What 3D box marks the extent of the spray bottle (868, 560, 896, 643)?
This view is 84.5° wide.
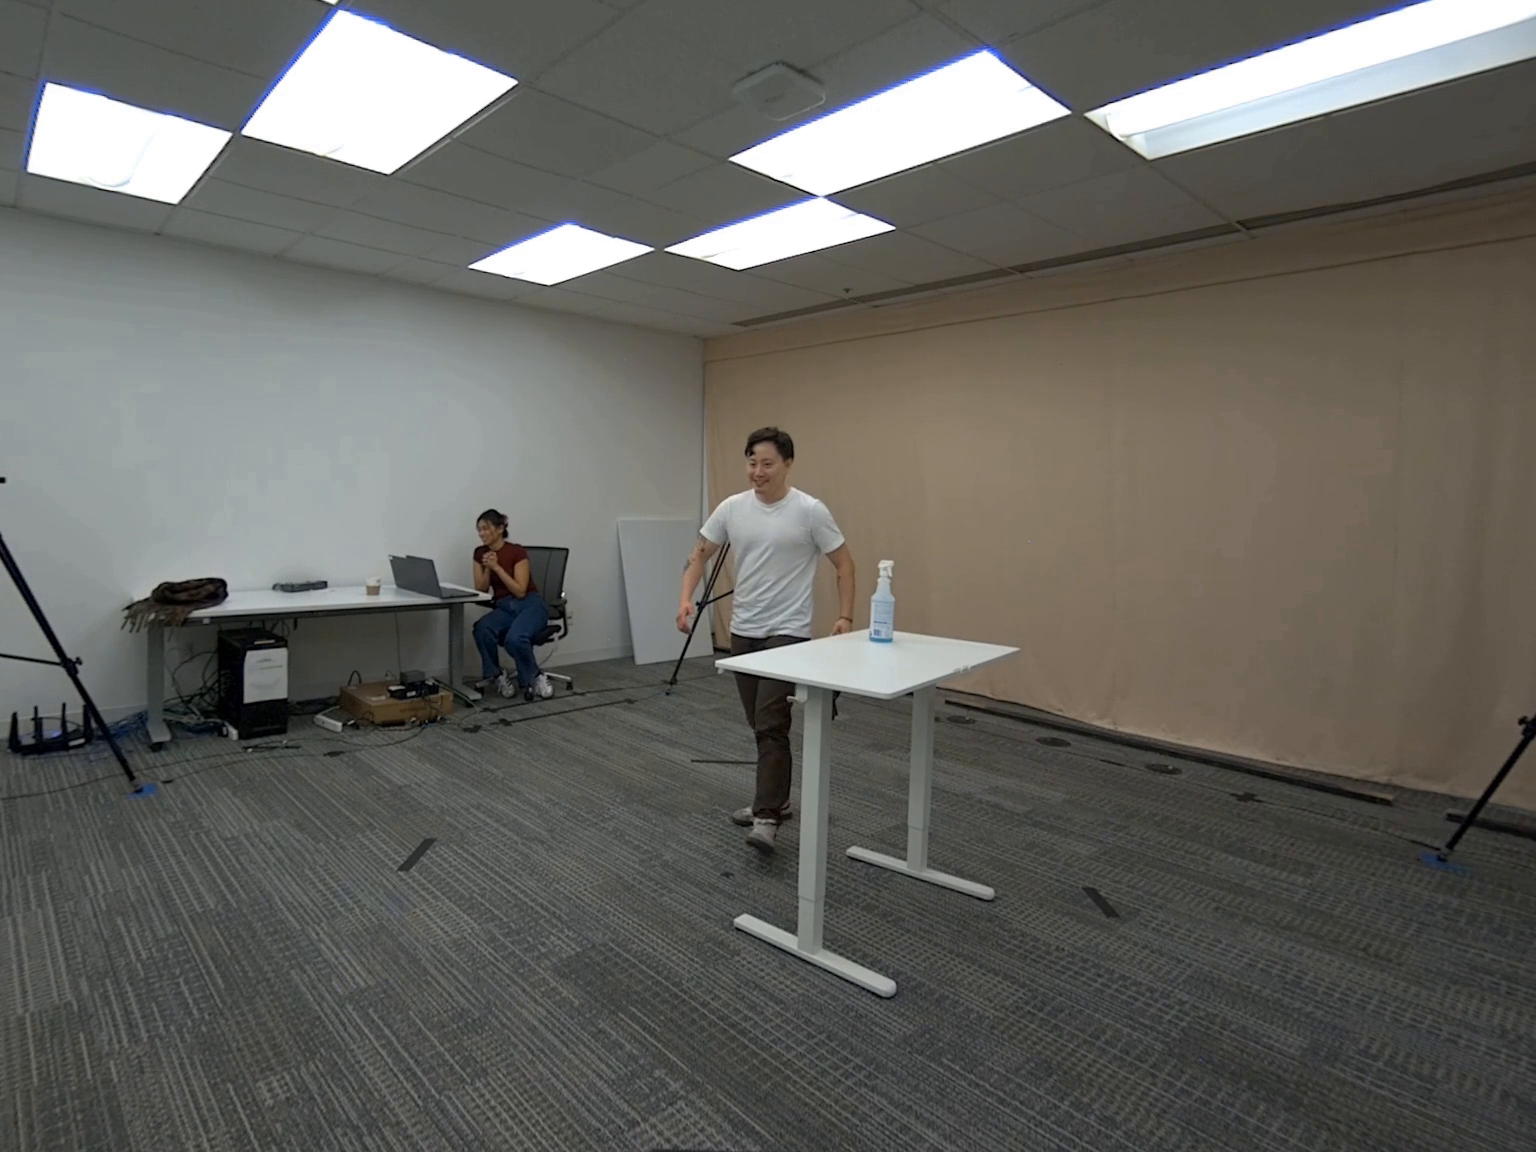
[{"bbox_3d":[0.412,0.094,3.066,0.087,0.296,0.090,2,4,3],"label":"spray bottle"}]
